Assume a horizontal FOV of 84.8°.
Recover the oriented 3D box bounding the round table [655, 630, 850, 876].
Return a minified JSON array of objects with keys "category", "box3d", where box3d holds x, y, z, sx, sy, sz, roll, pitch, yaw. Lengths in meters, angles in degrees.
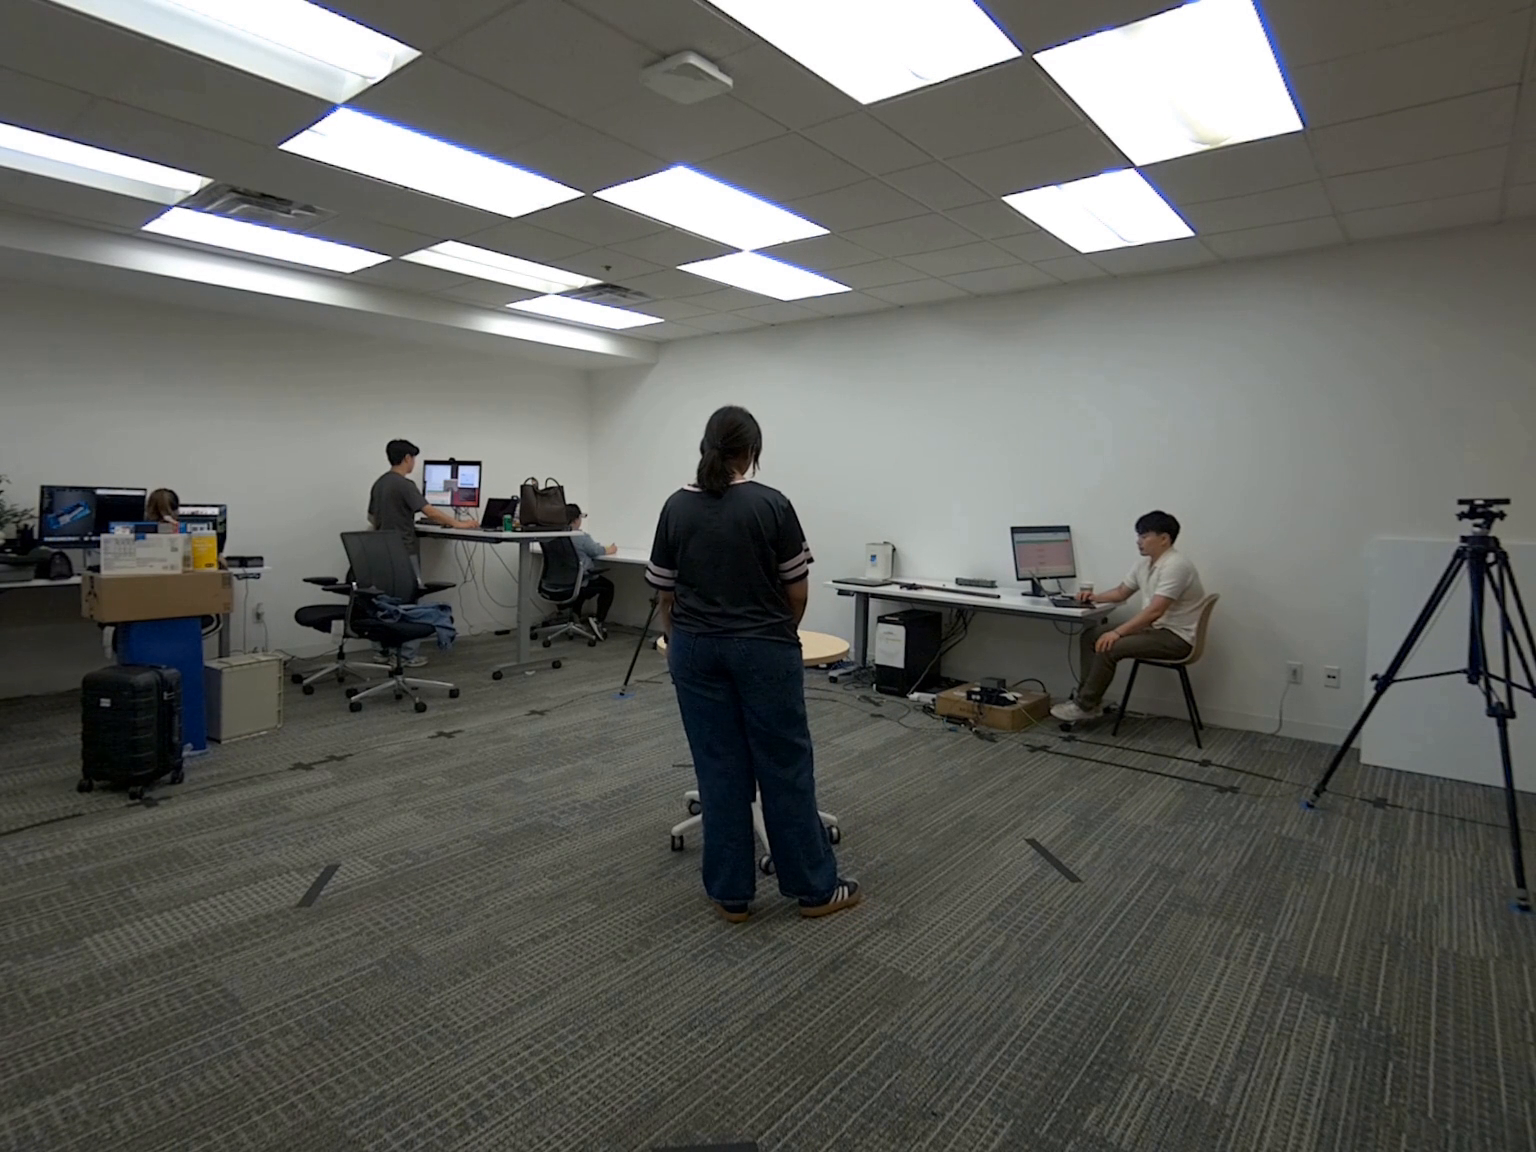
[{"category":"round table","box3d":[-0.075,0.651,3.405,0.763,0.792,0.767,1,4,-2]}]
